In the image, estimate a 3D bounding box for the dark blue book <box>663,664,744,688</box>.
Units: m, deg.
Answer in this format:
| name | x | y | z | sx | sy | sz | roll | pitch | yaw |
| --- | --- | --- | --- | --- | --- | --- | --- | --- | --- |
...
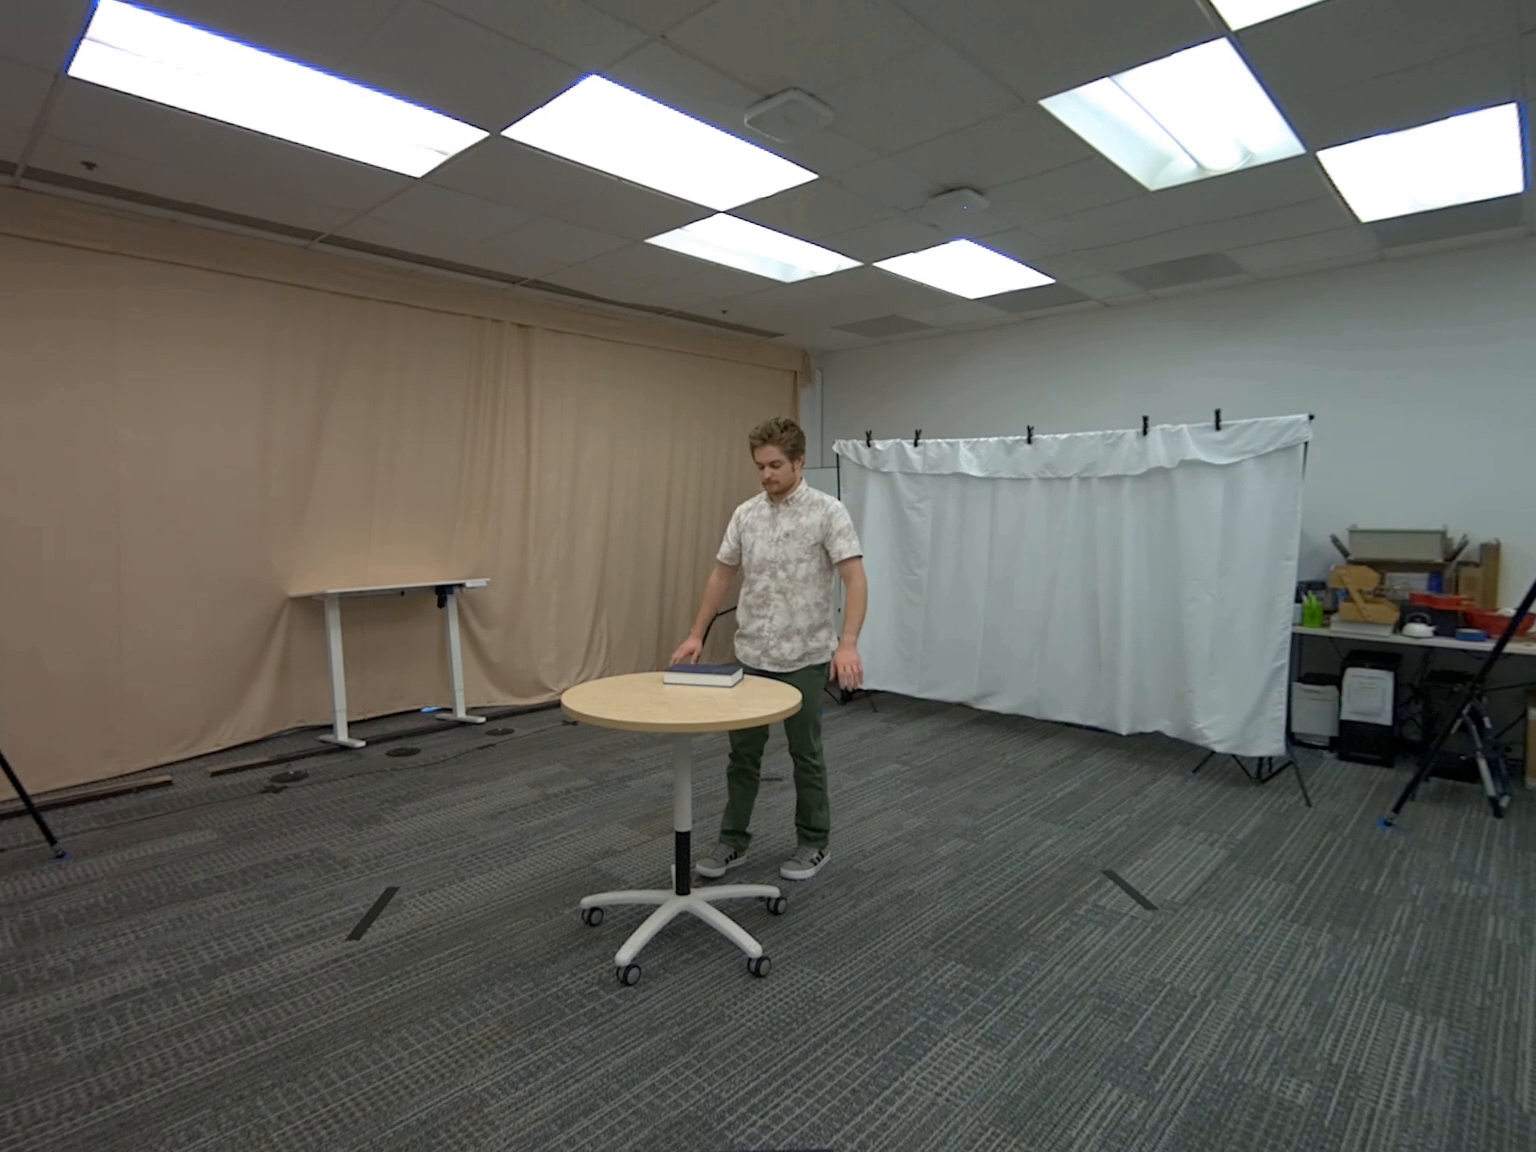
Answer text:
| name | x | y | z | sx | sy | sz | roll | pitch | yaw |
| --- | --- | --- | --- | --- | --- | --- | --- | --- | --- |
| dark blue book | -0.219 | 0.341 | 2.905 | 0.249 | 0.045 | 0.161 | 1 | 5 | 14 |
